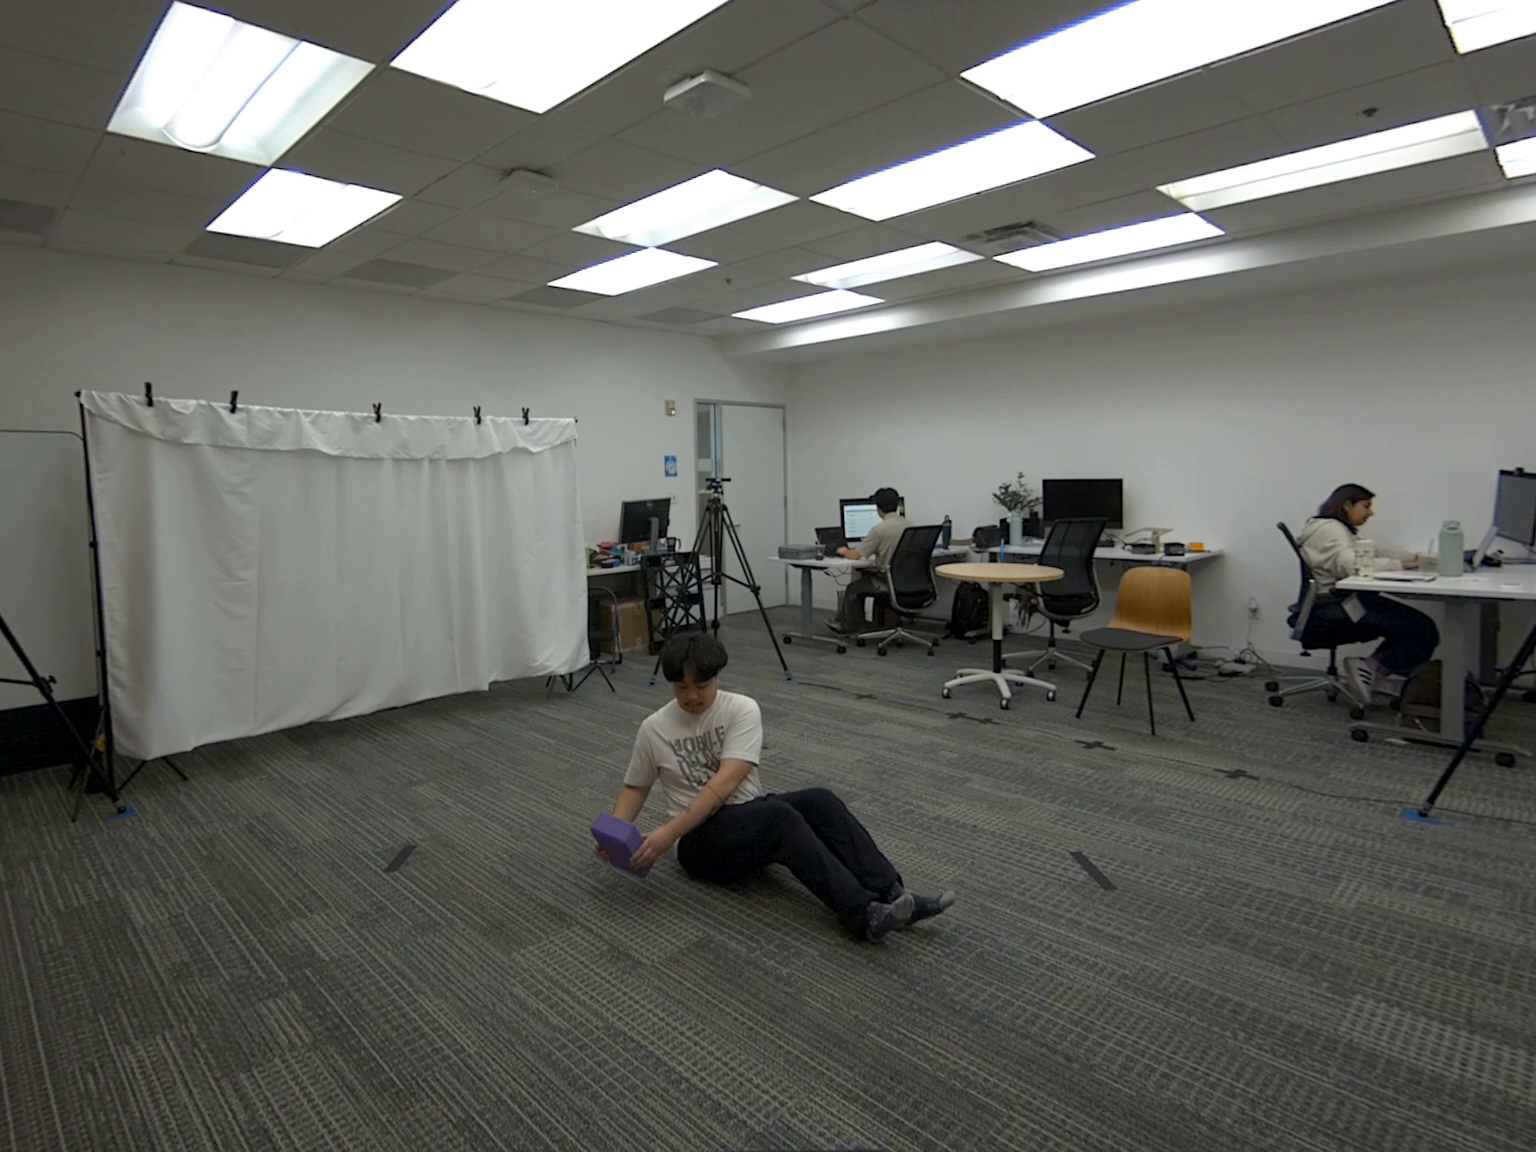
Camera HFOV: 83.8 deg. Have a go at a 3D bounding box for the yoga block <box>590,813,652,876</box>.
[{"bbox_3d":[-0.467,0.891,2.803,0.153,0.222,0.077,9,45,30],"label":"yoga block"}]
